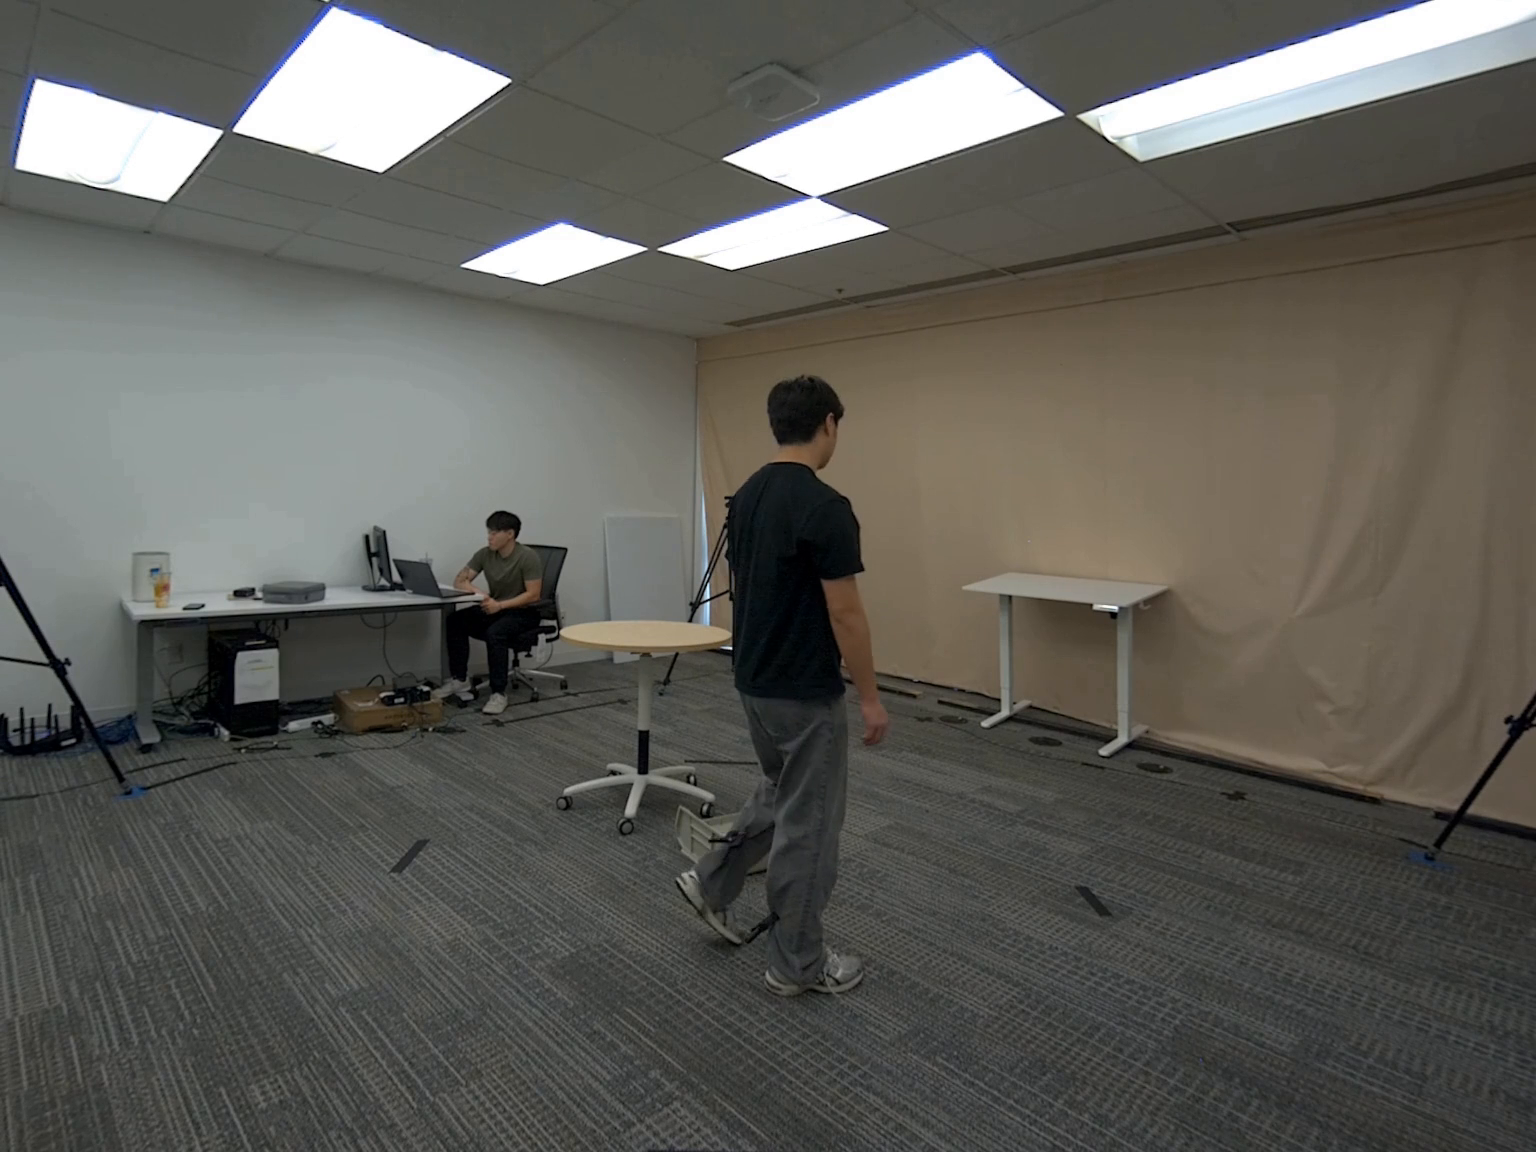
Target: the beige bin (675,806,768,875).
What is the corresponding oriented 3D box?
[{"bbox_3d":[-0.096,1.002,3.283,0.413,0.188,0.386,-1,6,-32],"label":"beige bin"}]
